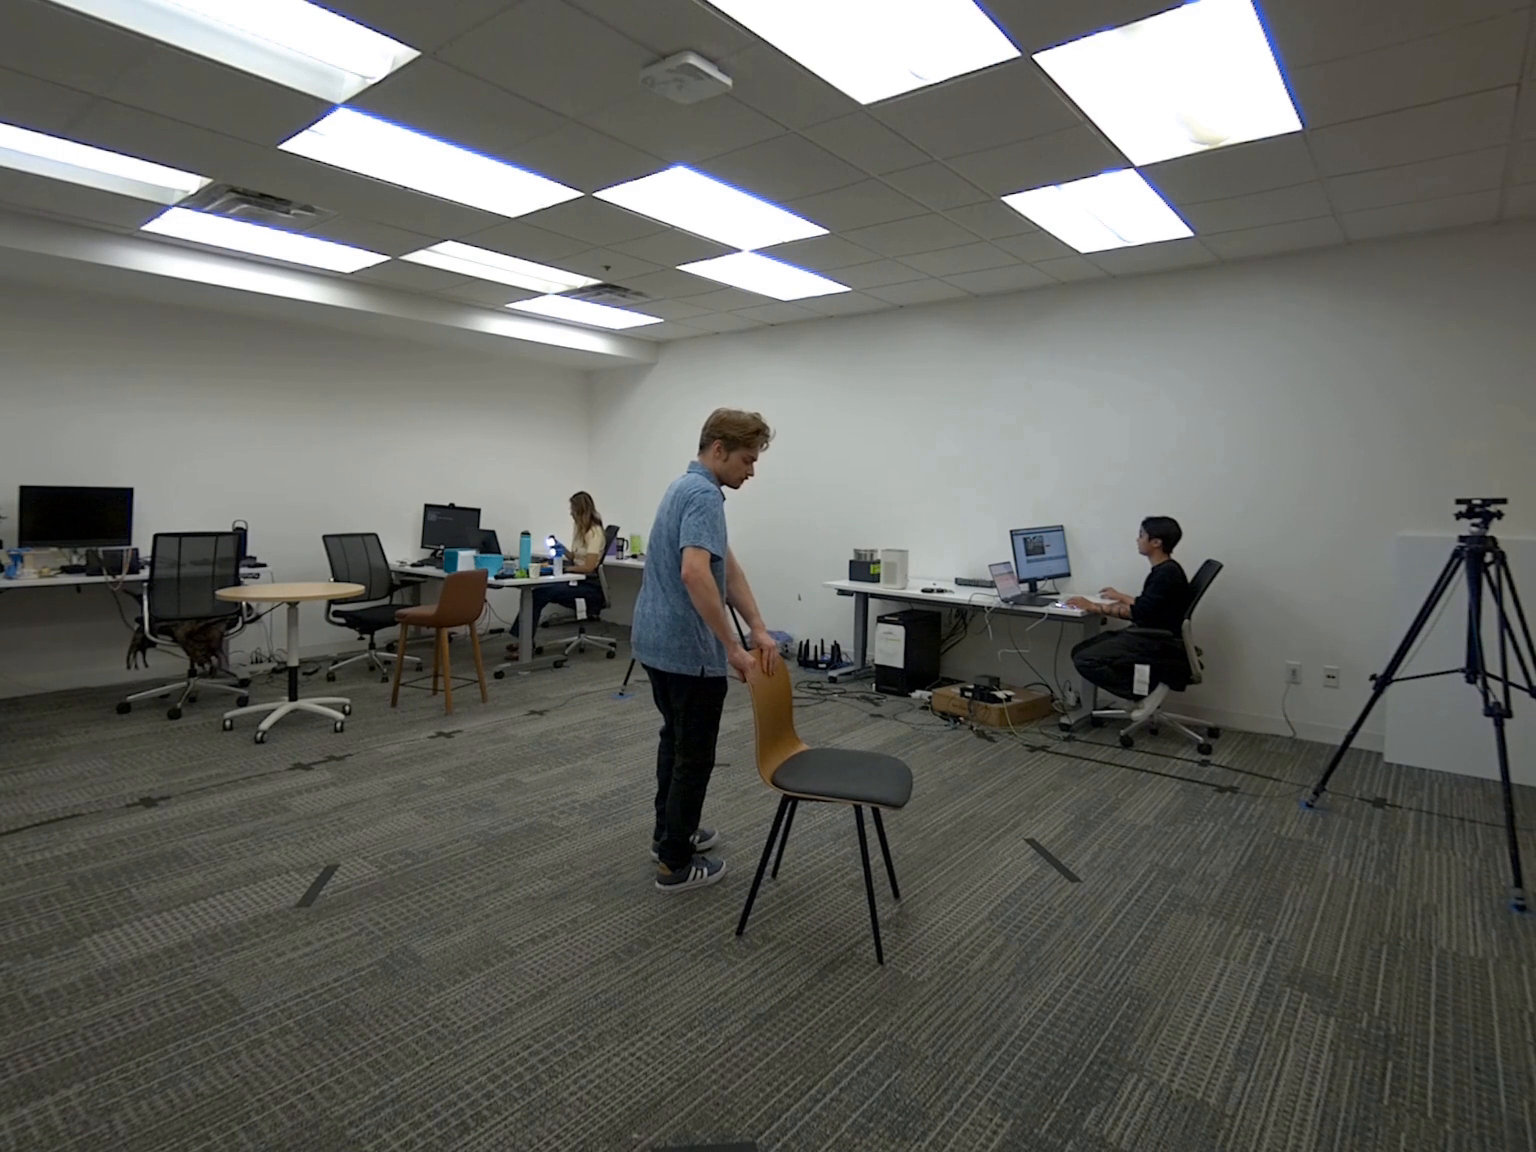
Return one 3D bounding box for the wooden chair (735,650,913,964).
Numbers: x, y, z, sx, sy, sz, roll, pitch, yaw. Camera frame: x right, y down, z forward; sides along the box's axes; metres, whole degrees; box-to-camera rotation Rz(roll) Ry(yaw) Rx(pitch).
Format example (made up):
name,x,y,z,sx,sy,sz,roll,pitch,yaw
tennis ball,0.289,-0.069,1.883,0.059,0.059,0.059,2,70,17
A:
name,x,y,z,sx,sy,sz,roll,pitch,yaw
wooden chair,0.191,0.684,2.758,0.533,0.876,0.470,-2,1,17
